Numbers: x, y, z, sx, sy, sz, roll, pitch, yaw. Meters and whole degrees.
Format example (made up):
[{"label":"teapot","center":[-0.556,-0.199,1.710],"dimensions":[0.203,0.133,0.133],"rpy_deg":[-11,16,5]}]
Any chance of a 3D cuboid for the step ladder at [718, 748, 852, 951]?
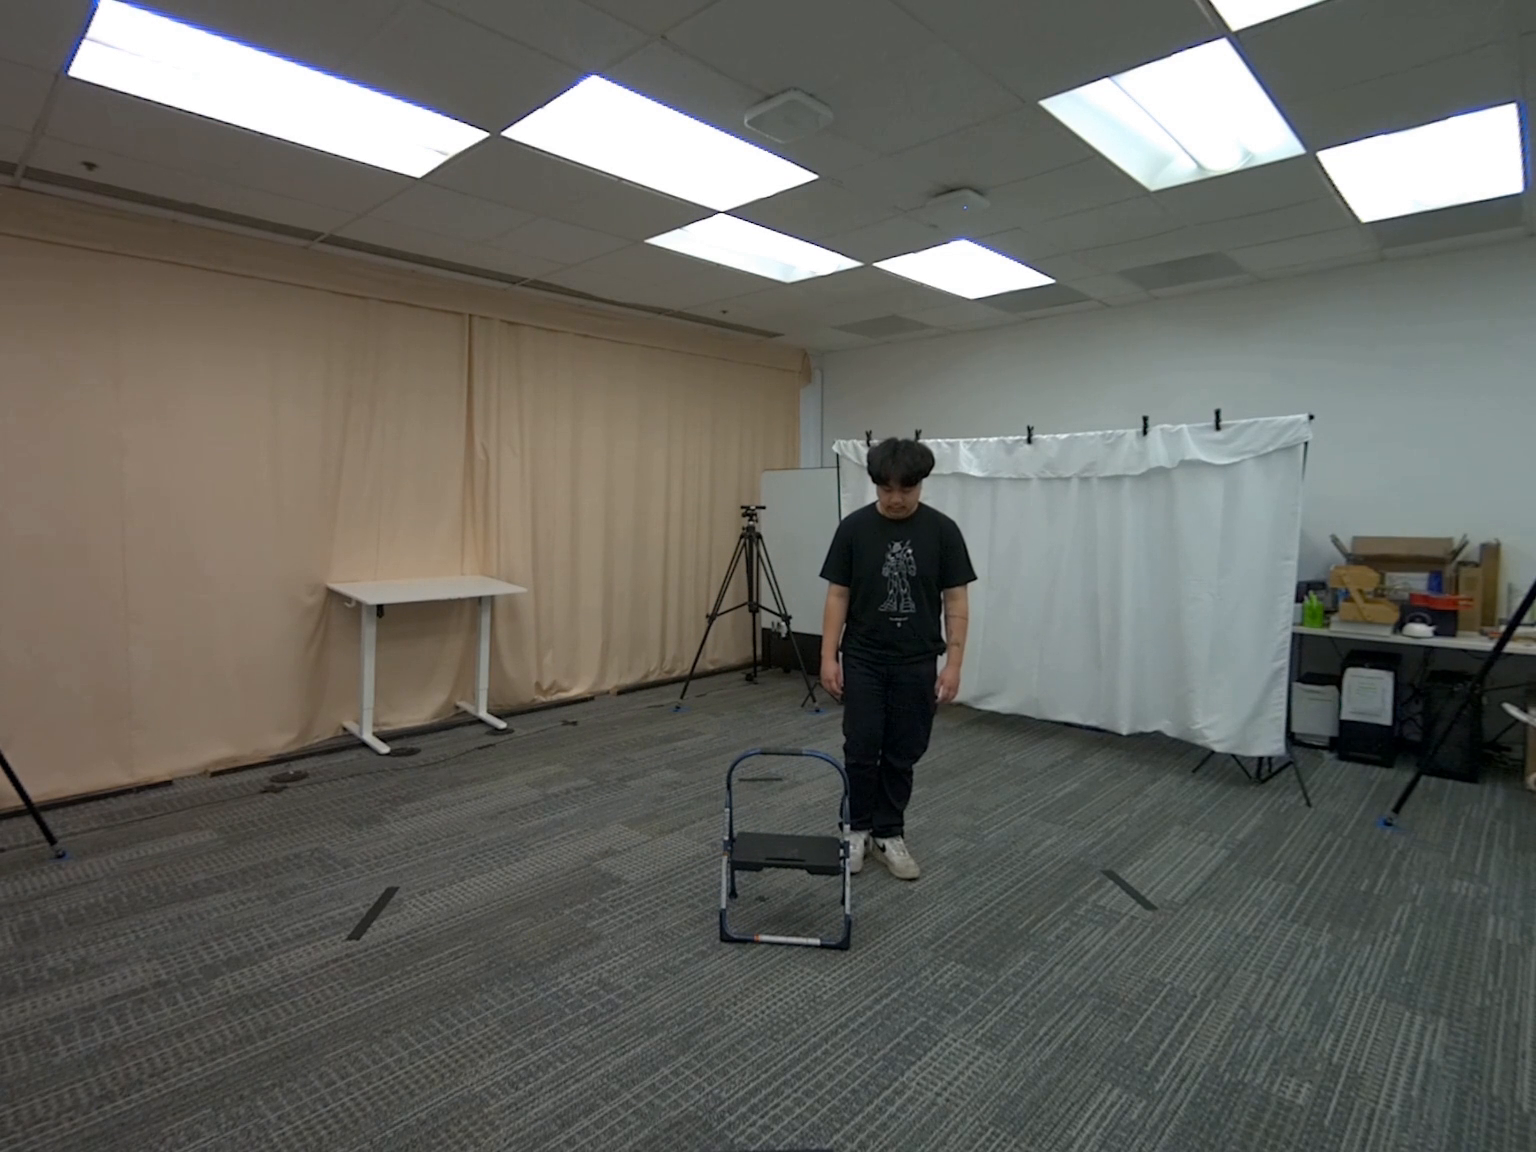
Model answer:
[{"label":"step ladder","center":[0.064,0.860,2.807],"dimensions":[0.434,0.605,0.347],"rpy_deg":[1,3,6]}]
